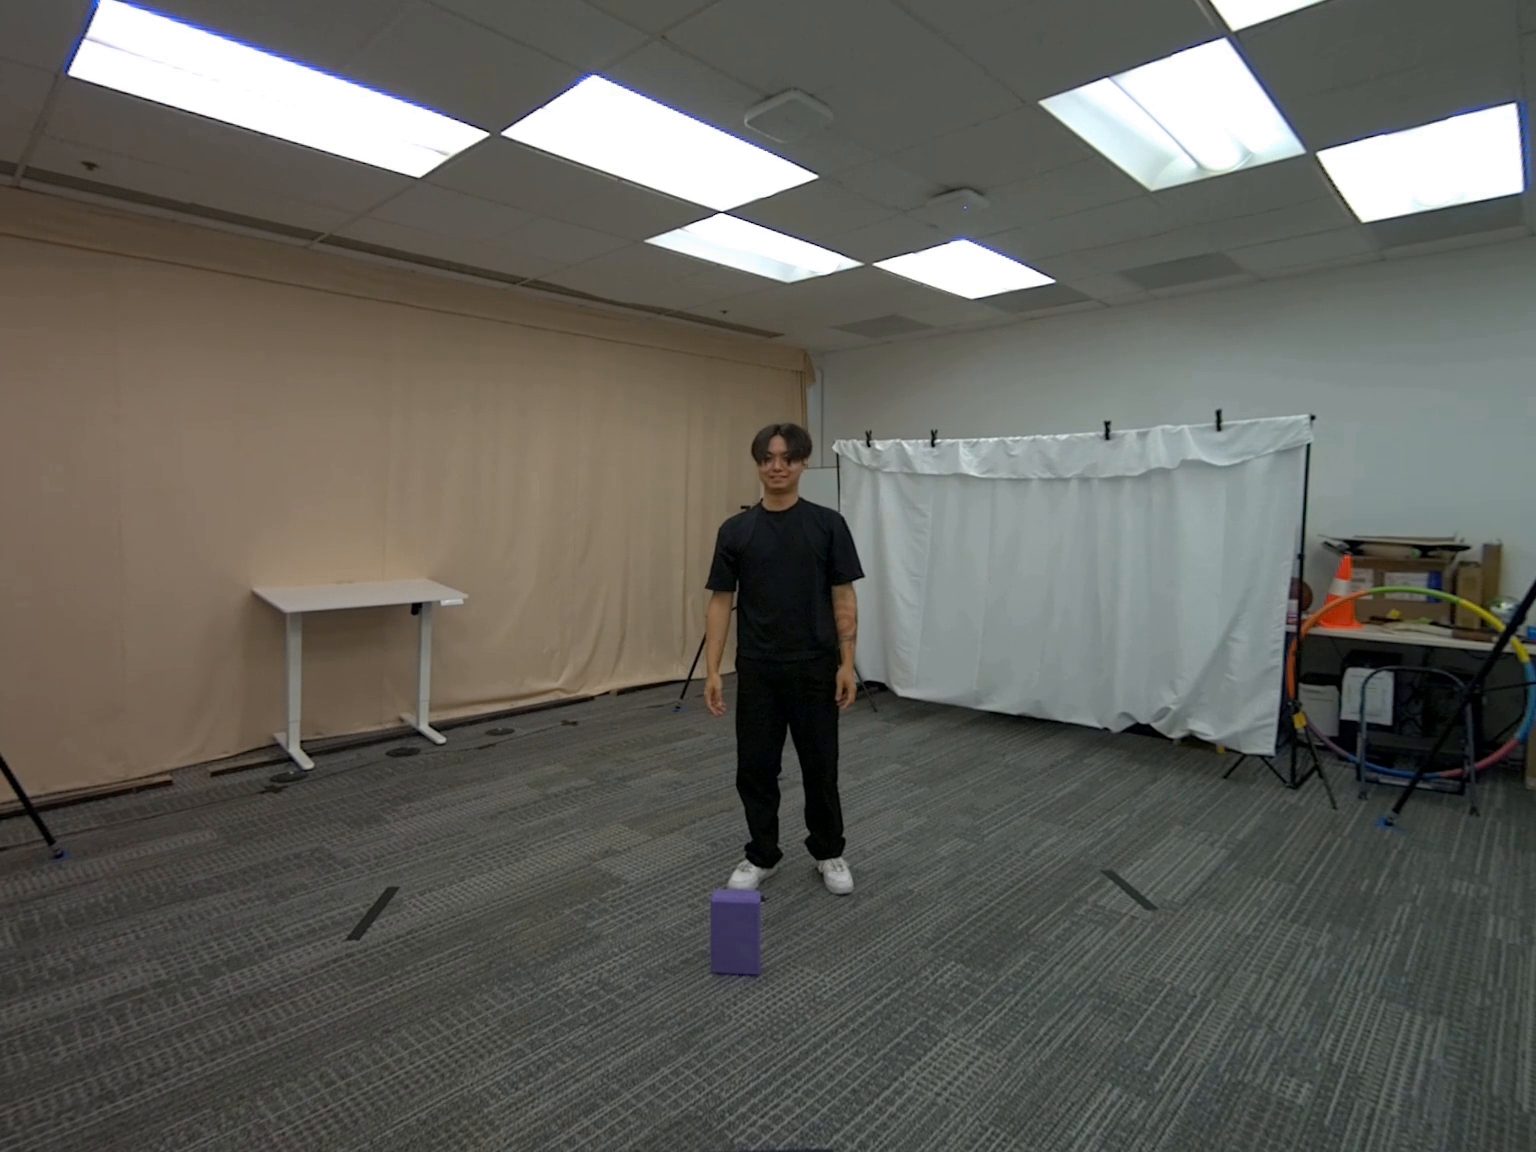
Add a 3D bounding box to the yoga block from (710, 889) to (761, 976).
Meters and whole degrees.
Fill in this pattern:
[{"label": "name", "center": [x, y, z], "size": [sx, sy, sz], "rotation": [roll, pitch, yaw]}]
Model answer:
[{"label": "yoga block", "center": [-0.097, 1.071, 2.520], "size": [0.149, 0.229, 0.076], "rotation": [1, 3, 3]}]
